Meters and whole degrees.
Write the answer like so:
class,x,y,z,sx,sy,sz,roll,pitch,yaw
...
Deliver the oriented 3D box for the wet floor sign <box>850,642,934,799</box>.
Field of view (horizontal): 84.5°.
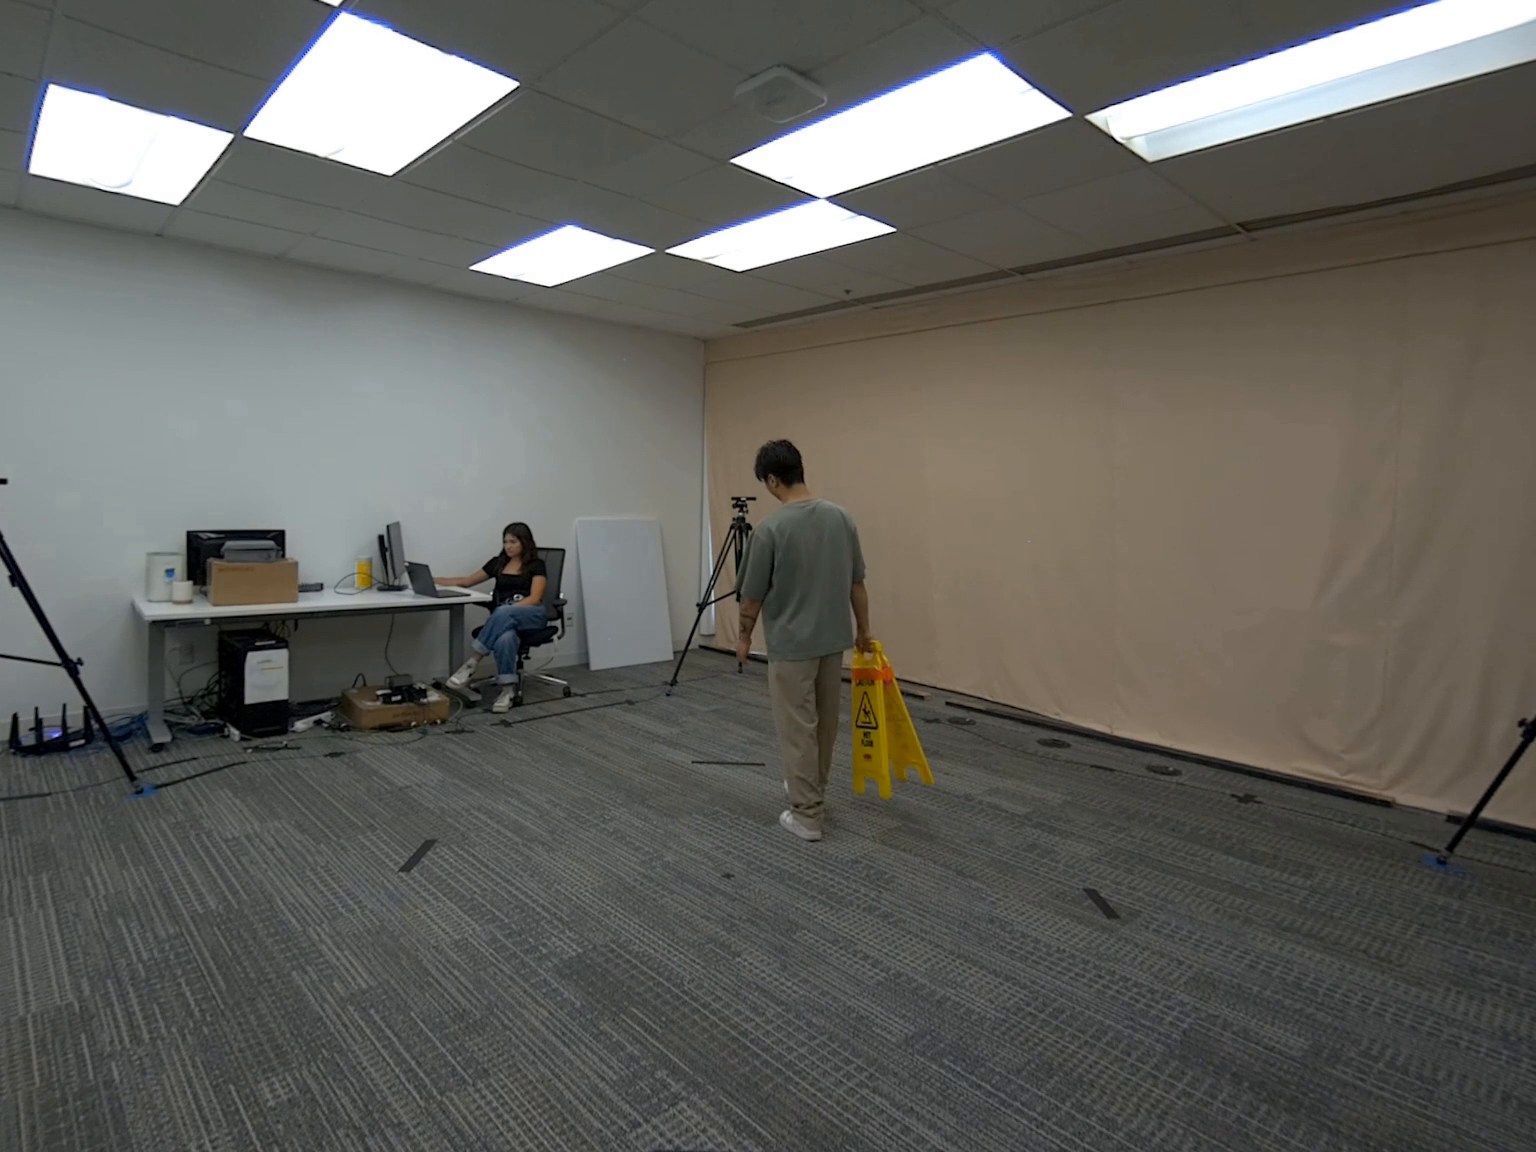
class,x,y,z,sx,sy,sz,roll,pitch,yaw
wet floor sign,0.475,0.607,3.714,0.285,0.649,0.285,-9,-5,-26
